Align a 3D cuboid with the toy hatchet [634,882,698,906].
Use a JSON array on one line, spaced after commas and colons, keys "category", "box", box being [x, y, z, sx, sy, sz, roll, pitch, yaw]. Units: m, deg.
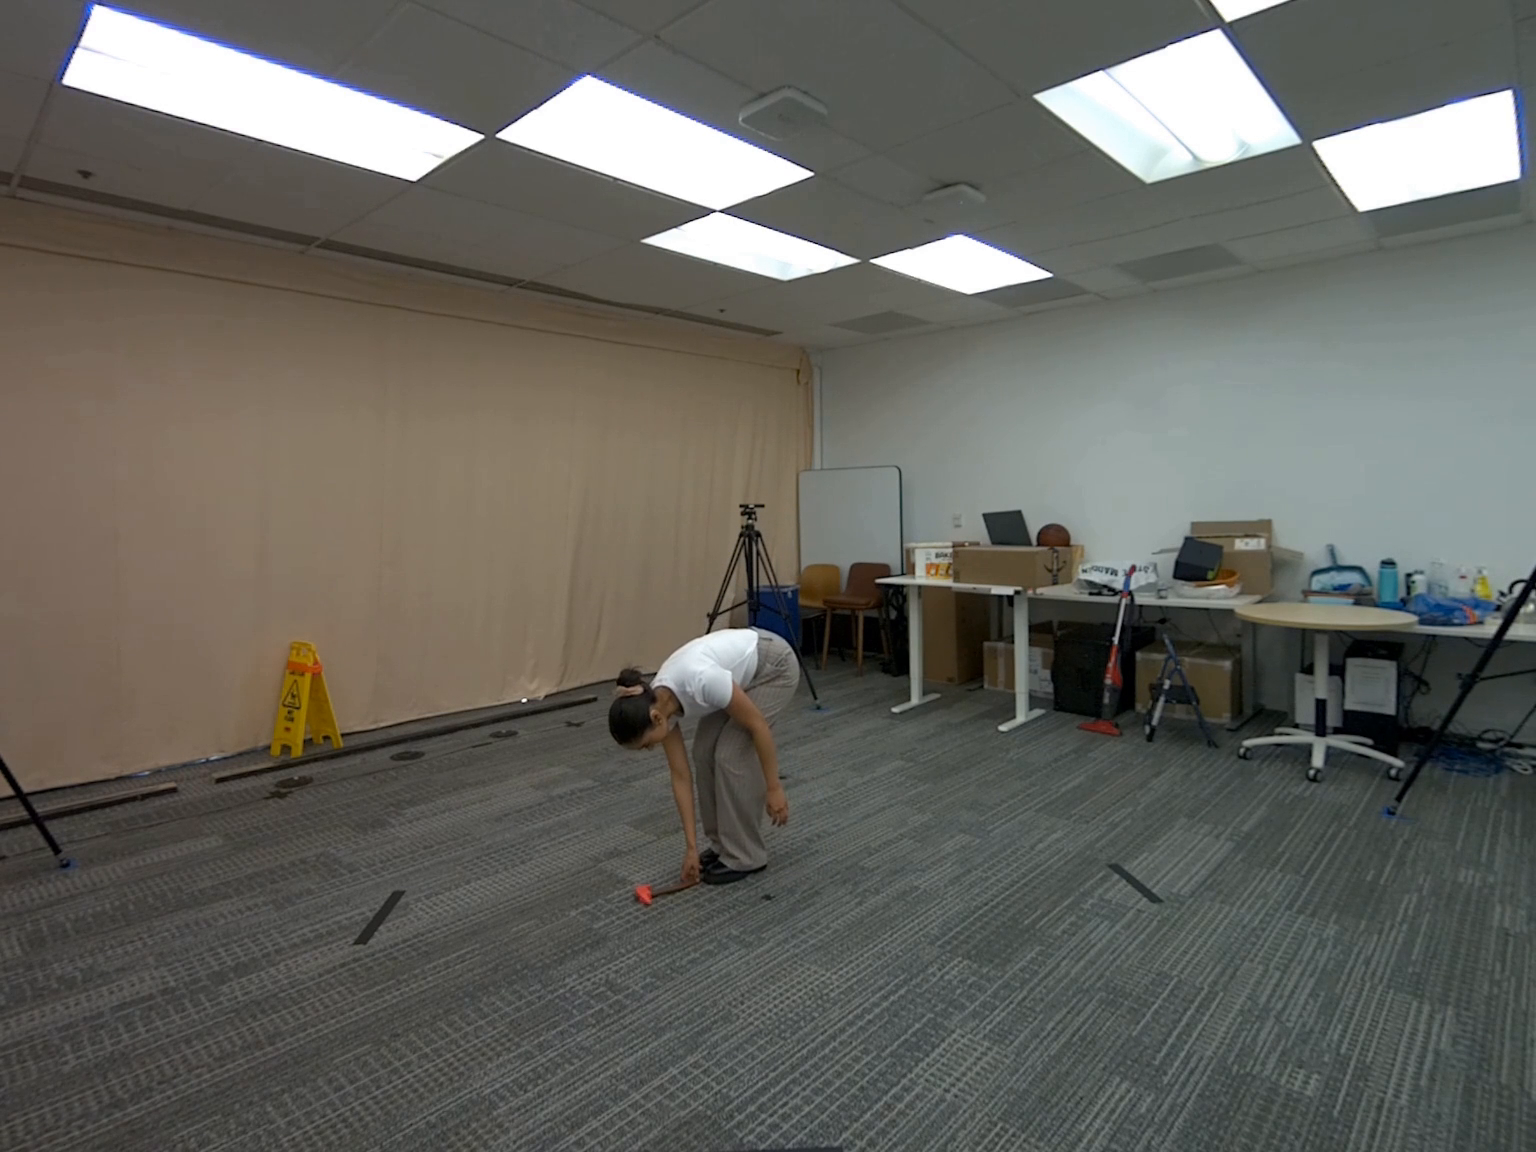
[{"category": "toy hatchet", "box": [-0.372, 1.126, 3.057, 0.135, 0.029, 0.261, 6, 6, 45]}]
